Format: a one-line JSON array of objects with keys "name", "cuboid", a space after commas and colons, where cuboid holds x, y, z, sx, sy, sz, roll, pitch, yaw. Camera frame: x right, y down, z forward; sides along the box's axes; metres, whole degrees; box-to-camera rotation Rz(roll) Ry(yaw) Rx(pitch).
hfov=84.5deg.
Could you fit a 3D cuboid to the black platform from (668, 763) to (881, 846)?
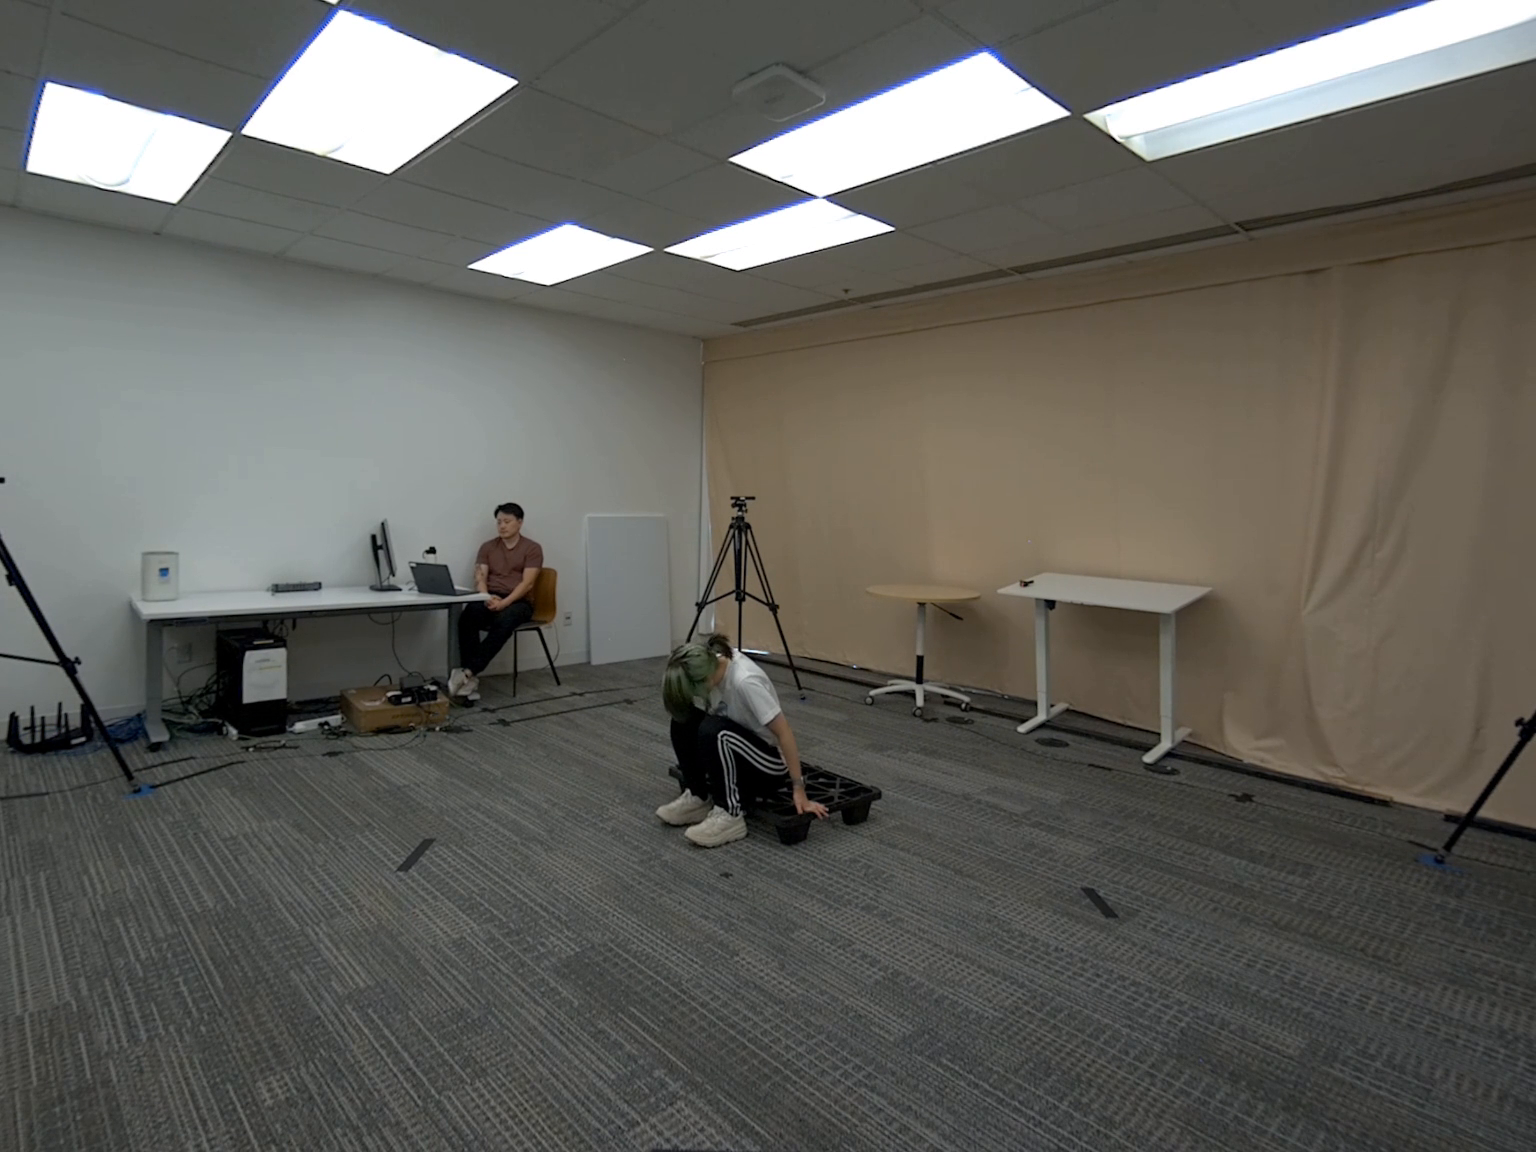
[{"name": "black platform", "cuboid": [0.010, 0.981, 3.802, 0.592, 0.143, 0.826, -4, 7, -40]}]
